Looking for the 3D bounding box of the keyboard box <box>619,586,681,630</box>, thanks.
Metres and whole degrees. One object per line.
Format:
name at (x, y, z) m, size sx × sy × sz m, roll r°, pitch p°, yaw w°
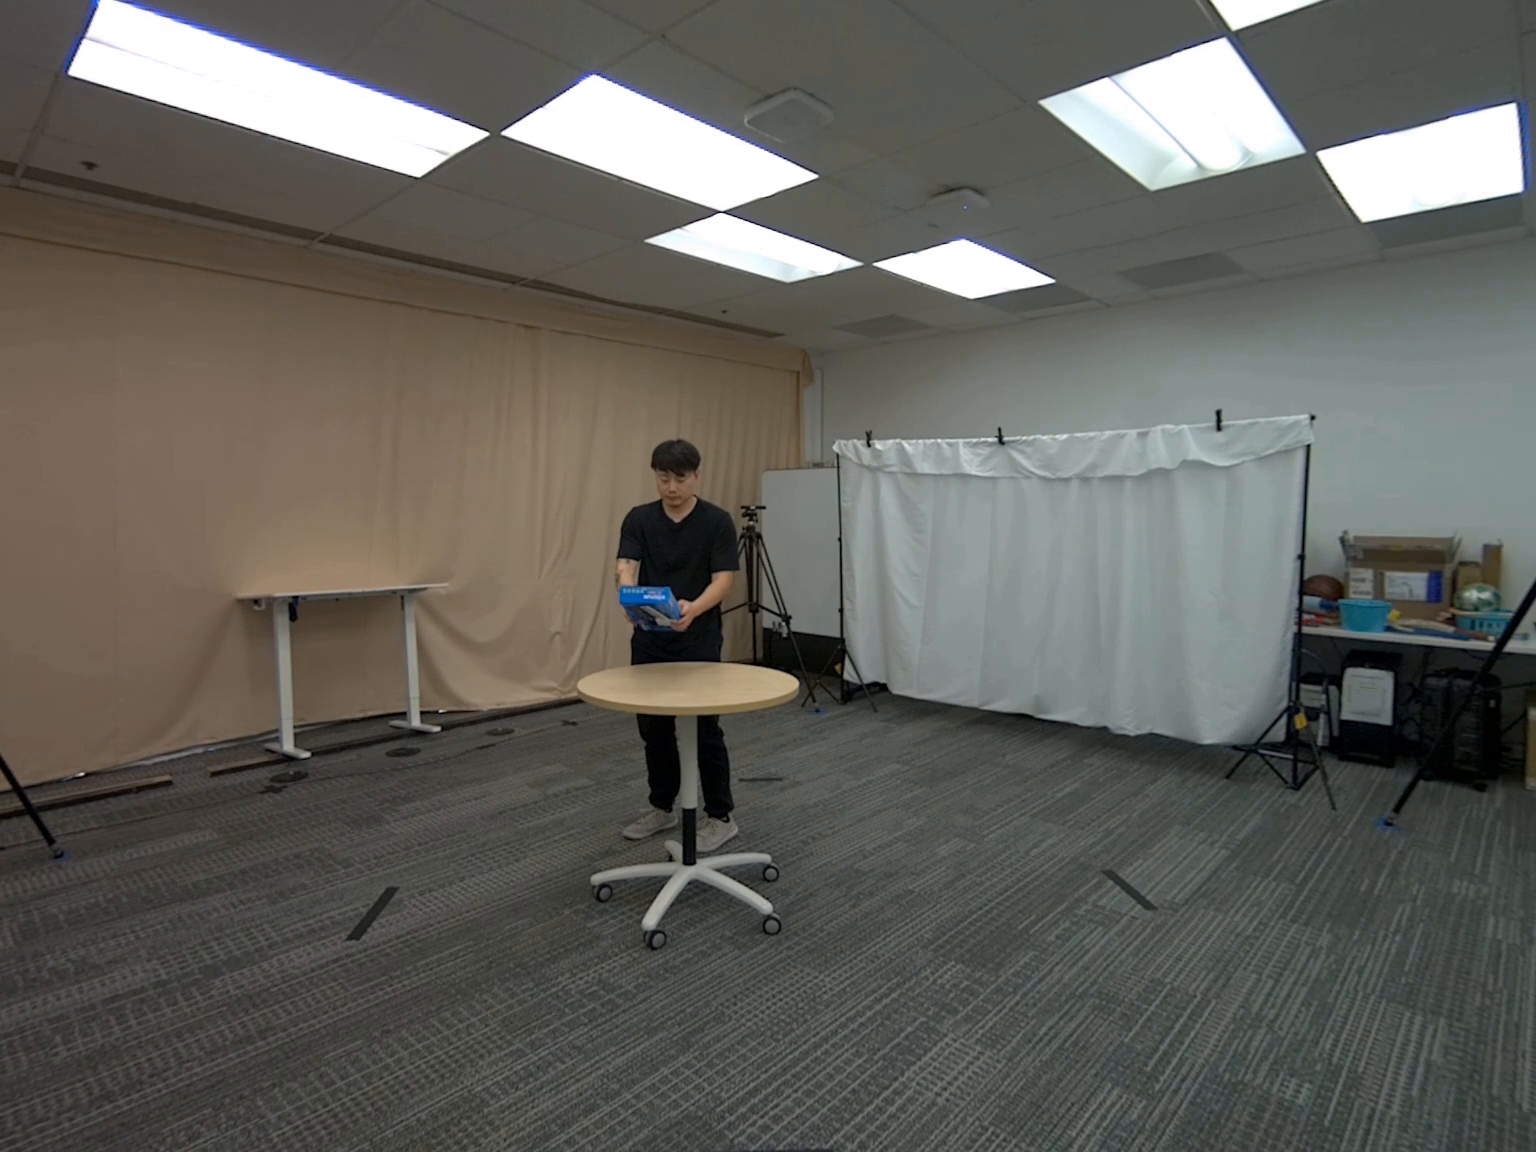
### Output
keyboard box at (-0.420, 0.124, 3.038) m, size 0.177 × 0.059 × 0.430 m, roll 3°, pitch -16°, yaw 4°
